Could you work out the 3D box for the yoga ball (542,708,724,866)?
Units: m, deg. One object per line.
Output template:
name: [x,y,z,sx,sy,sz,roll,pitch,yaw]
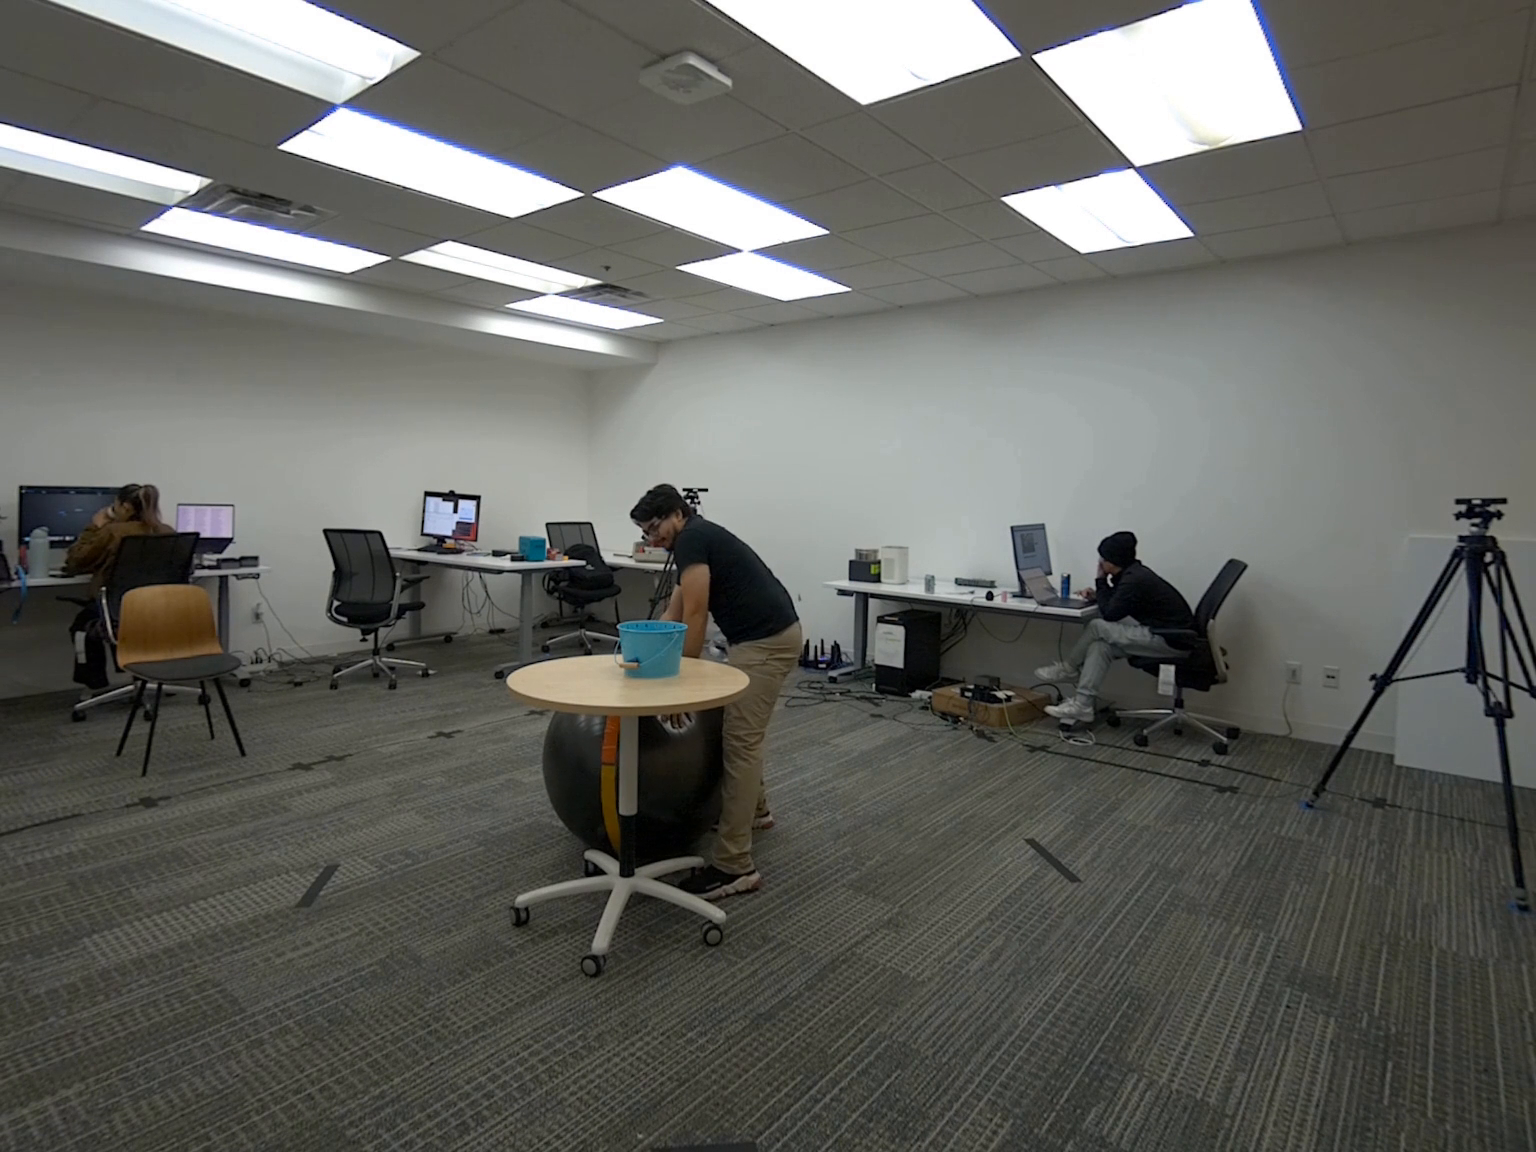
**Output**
yoga ball: [-0.518,0.711,3.337,0.757,0.755,0.762,1,4,-2]
